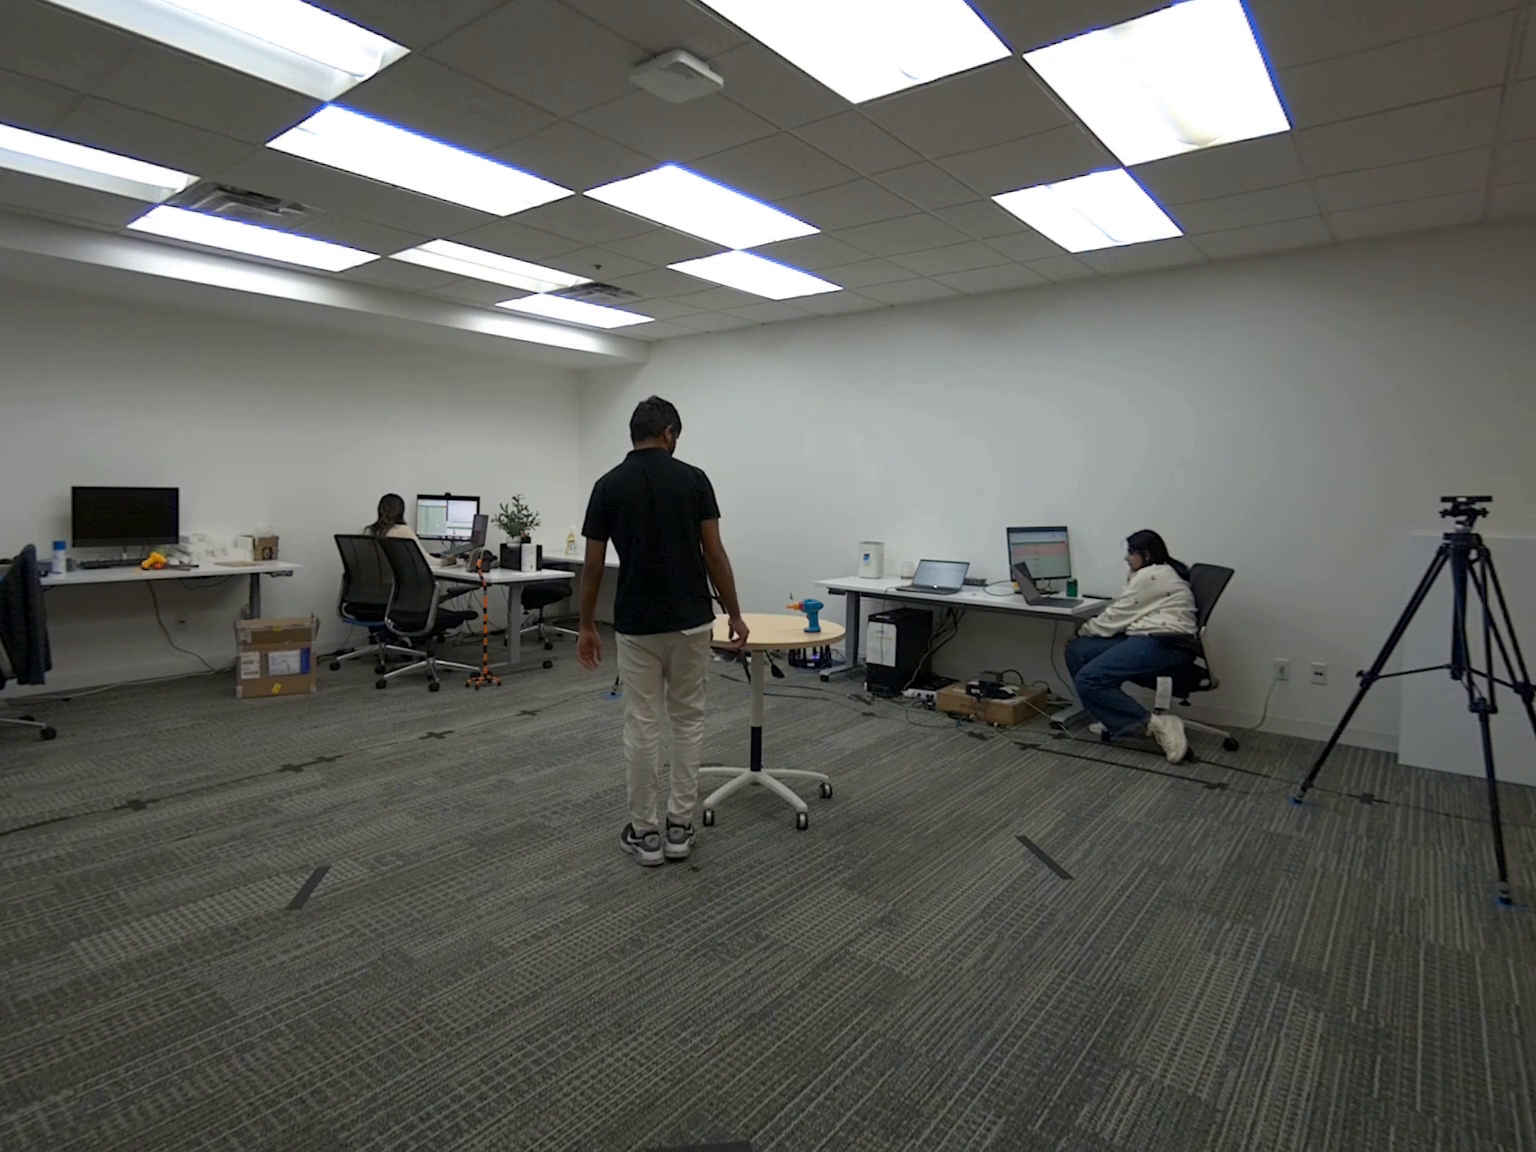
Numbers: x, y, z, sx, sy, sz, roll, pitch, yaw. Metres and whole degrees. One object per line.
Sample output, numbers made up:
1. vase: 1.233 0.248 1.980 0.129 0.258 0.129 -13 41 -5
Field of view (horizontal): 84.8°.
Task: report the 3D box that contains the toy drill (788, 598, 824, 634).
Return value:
1. toy drill: 0.141 0.163 3.640 0.167 0.145 0.062 -1 4 -15
